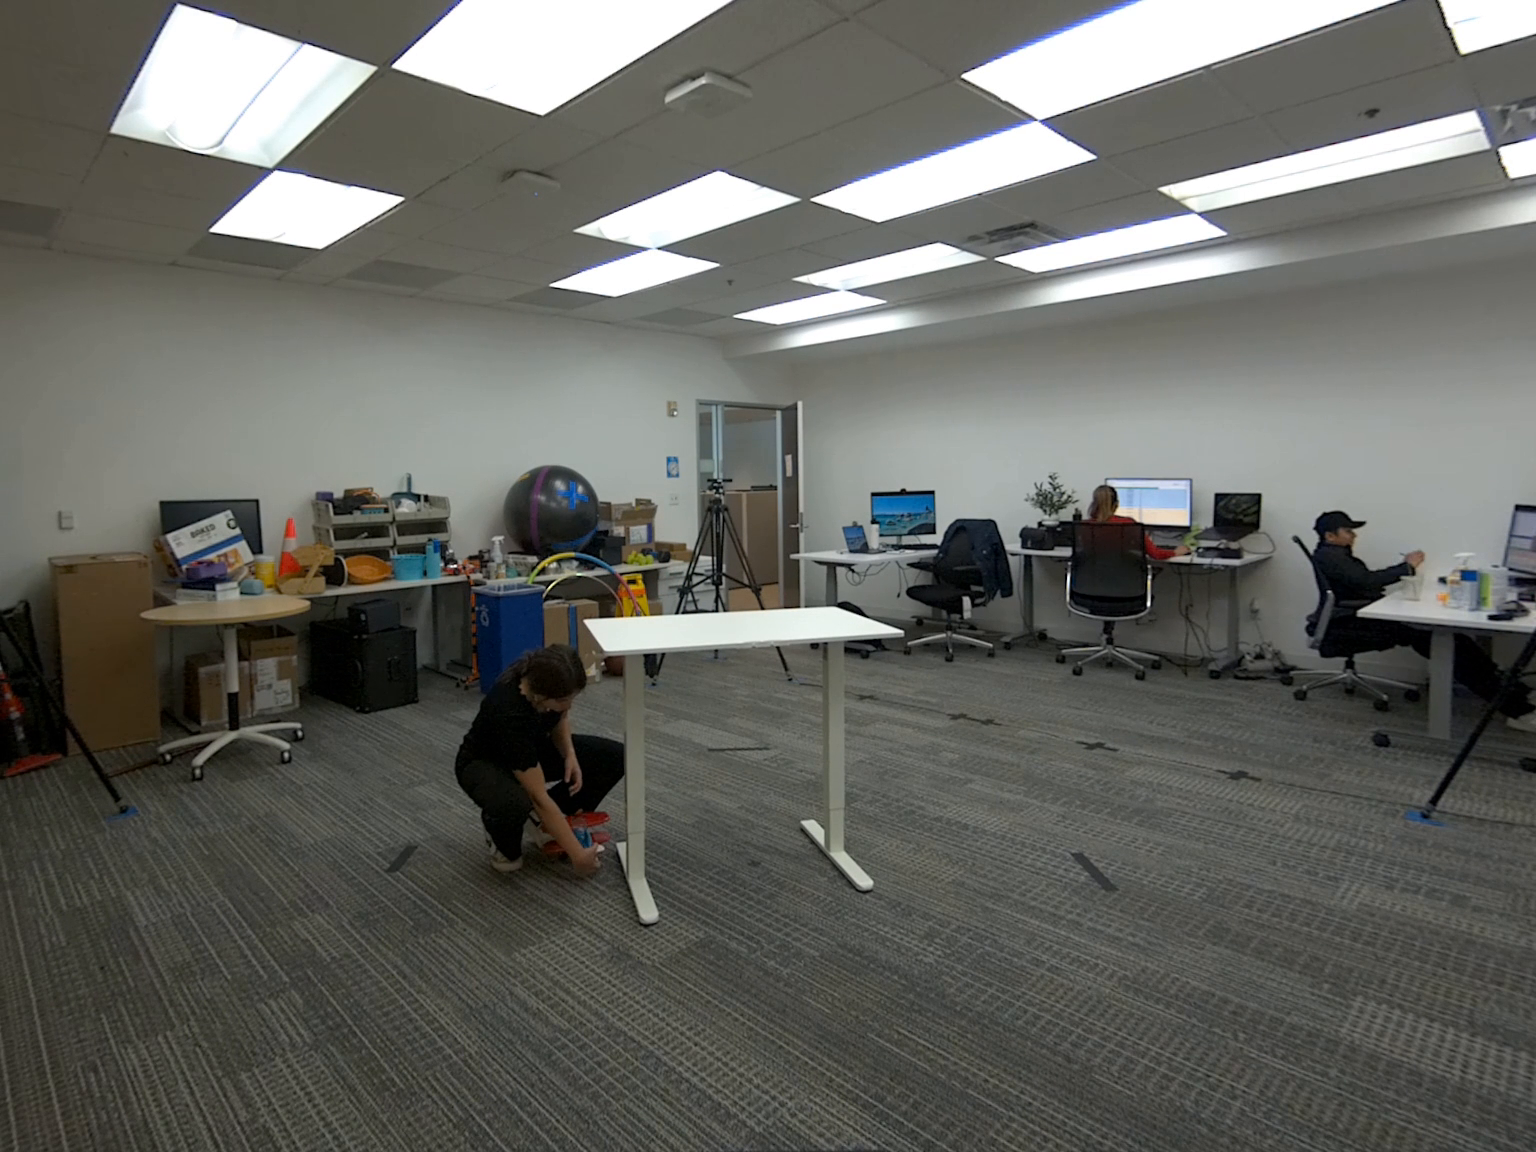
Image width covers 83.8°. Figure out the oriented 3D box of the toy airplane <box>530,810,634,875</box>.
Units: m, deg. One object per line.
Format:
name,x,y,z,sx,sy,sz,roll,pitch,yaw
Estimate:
toy airplane,-0.681,0.963,3.129,0.265,0.157,0.244,-11,-6,35
